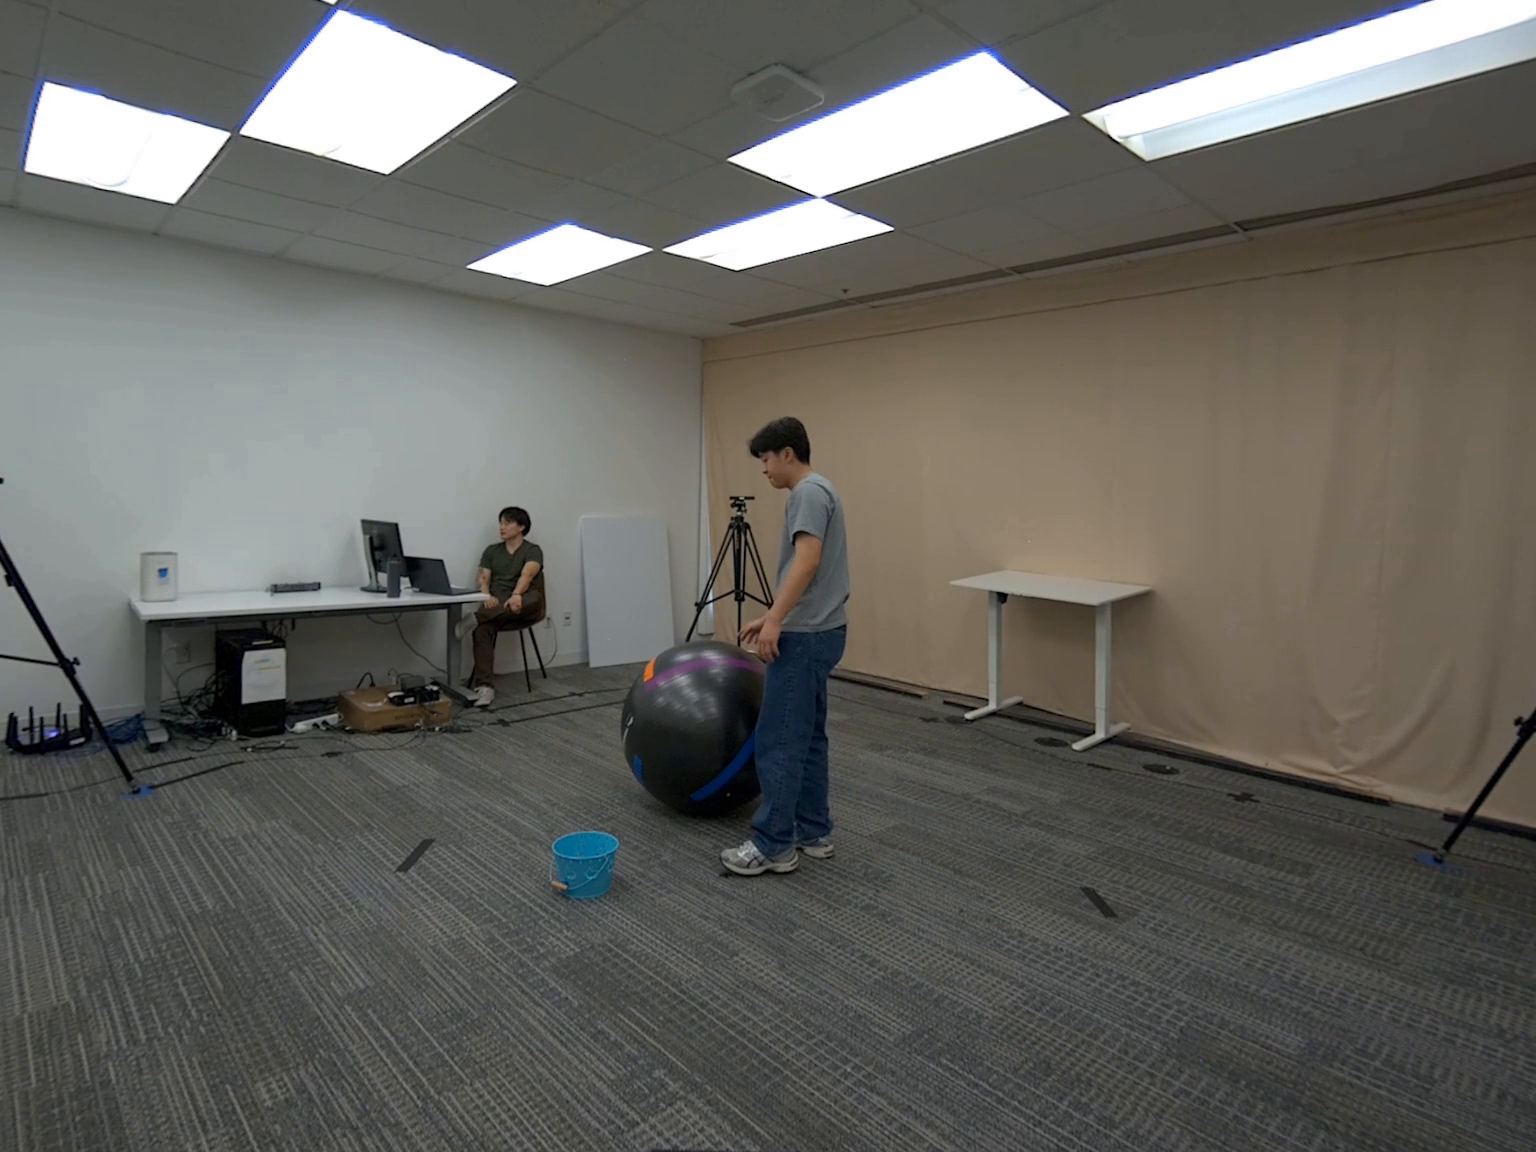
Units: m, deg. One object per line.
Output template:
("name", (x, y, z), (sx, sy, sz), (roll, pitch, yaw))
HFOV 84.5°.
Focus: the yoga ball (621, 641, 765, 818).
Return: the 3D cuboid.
("yoga ball", (-0.292, 0.673, 3.788), (0.757, 0.756, 0.761), (1, 4, -1))
